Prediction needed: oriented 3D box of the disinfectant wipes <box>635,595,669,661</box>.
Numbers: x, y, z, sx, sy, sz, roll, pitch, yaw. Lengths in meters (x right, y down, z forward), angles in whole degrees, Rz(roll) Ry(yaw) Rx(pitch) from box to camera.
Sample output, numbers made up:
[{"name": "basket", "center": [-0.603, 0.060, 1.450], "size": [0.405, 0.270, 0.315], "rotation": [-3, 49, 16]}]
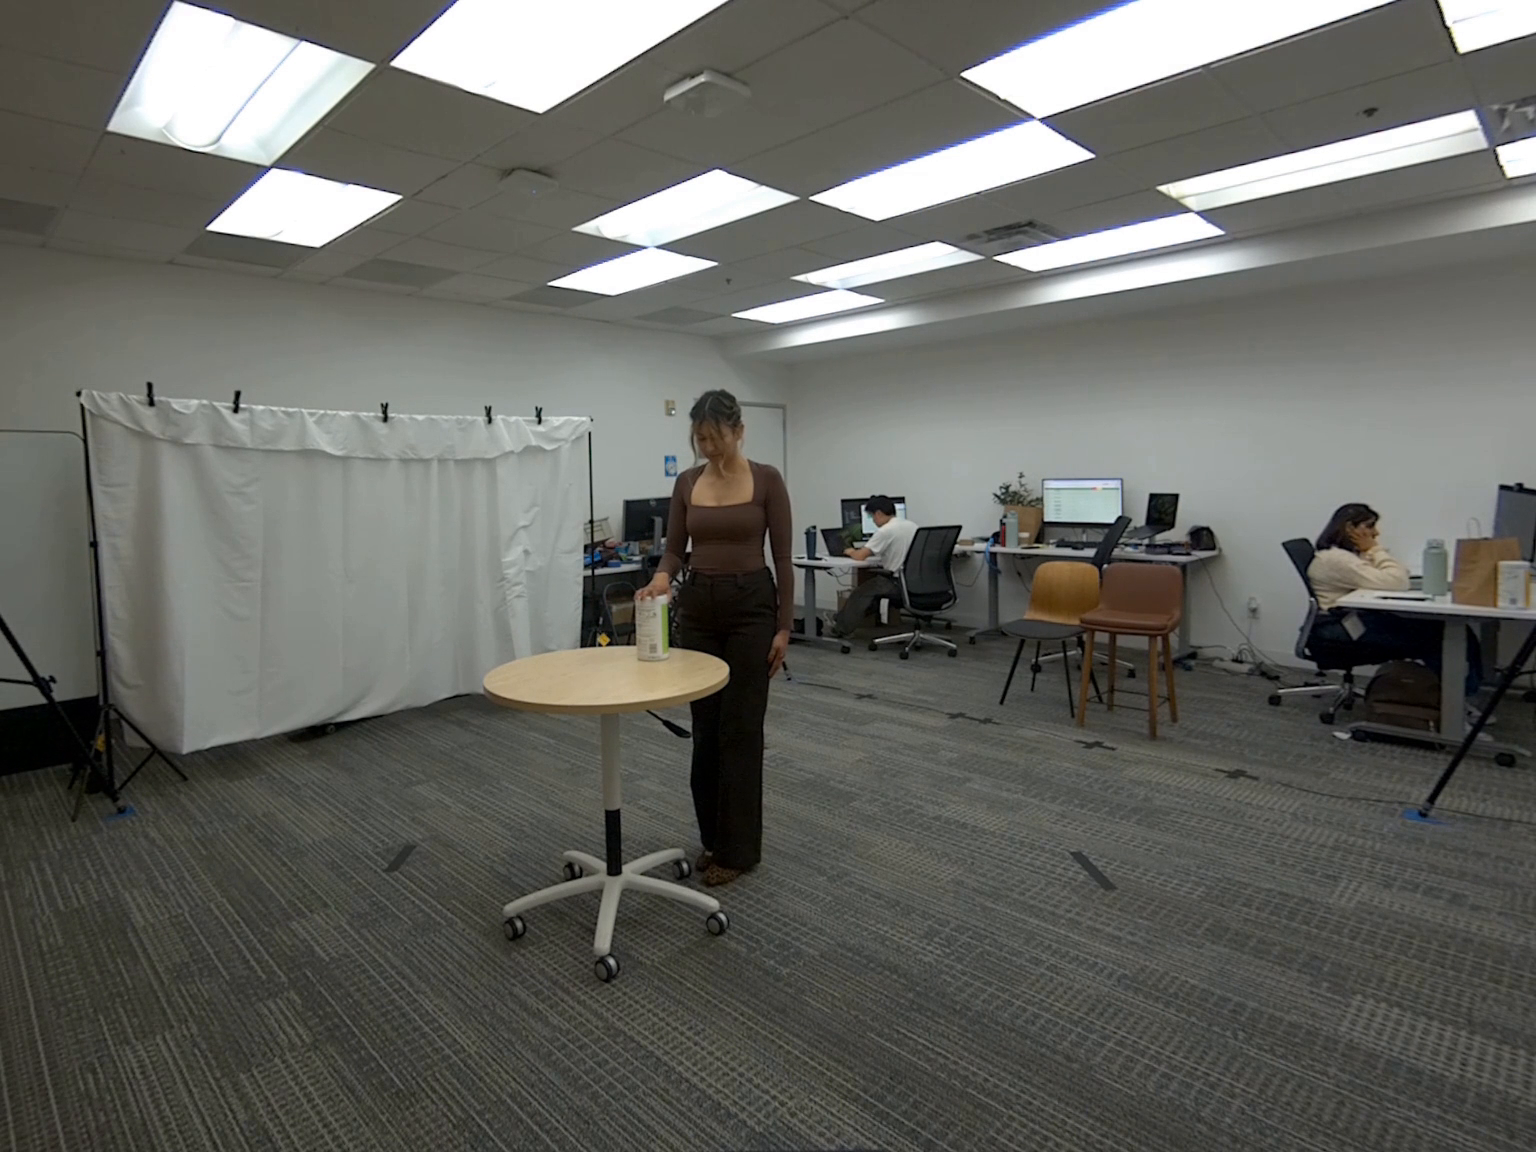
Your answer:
[{"name": "disinfectant wipes", "center": [-0.387, 0.172, 2.867], "size": [0.118, 0.217, 0.118], "rotation": [1, 4, -2]}]
